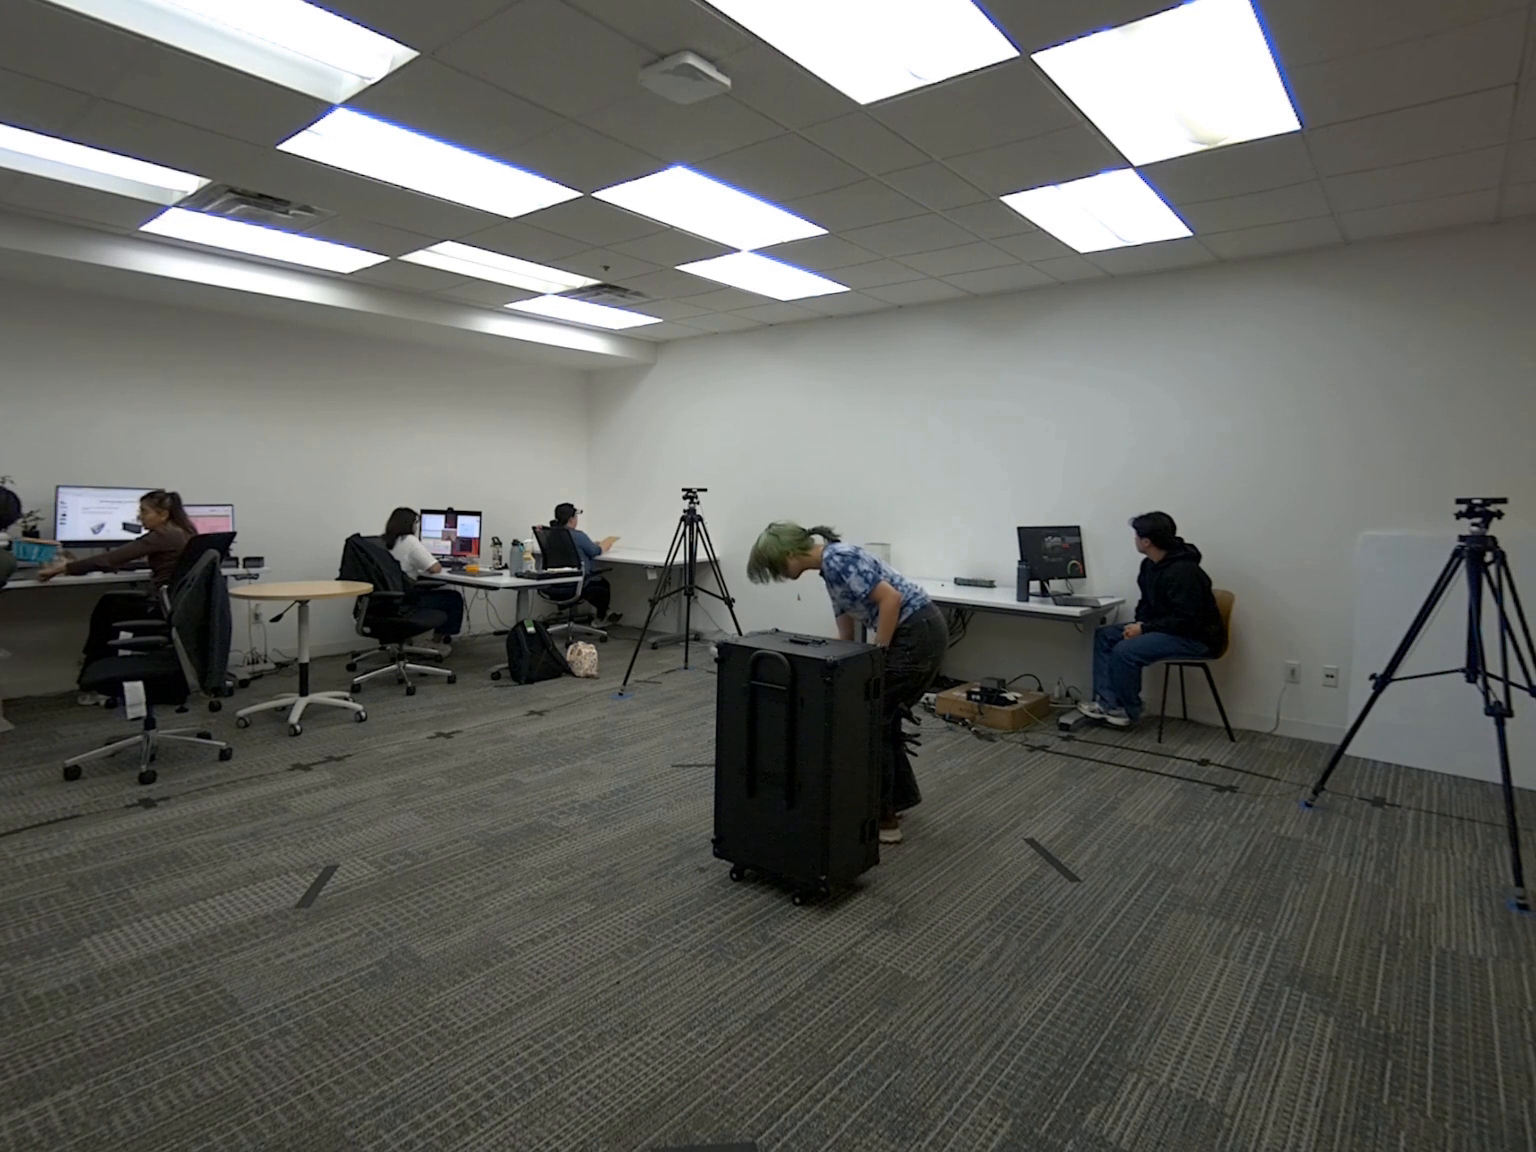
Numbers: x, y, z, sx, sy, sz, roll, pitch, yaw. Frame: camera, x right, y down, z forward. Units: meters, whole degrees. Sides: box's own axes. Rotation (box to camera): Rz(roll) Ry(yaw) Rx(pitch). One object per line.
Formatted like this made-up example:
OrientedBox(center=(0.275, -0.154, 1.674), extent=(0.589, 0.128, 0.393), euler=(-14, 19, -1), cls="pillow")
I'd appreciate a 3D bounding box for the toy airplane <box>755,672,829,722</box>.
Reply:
OrientedBox(center=(0.102, 0.540, 3.811), extent=(0.247, 0.156, 0.263), euler=(-4, 1, -16), cls="toy airplane")
